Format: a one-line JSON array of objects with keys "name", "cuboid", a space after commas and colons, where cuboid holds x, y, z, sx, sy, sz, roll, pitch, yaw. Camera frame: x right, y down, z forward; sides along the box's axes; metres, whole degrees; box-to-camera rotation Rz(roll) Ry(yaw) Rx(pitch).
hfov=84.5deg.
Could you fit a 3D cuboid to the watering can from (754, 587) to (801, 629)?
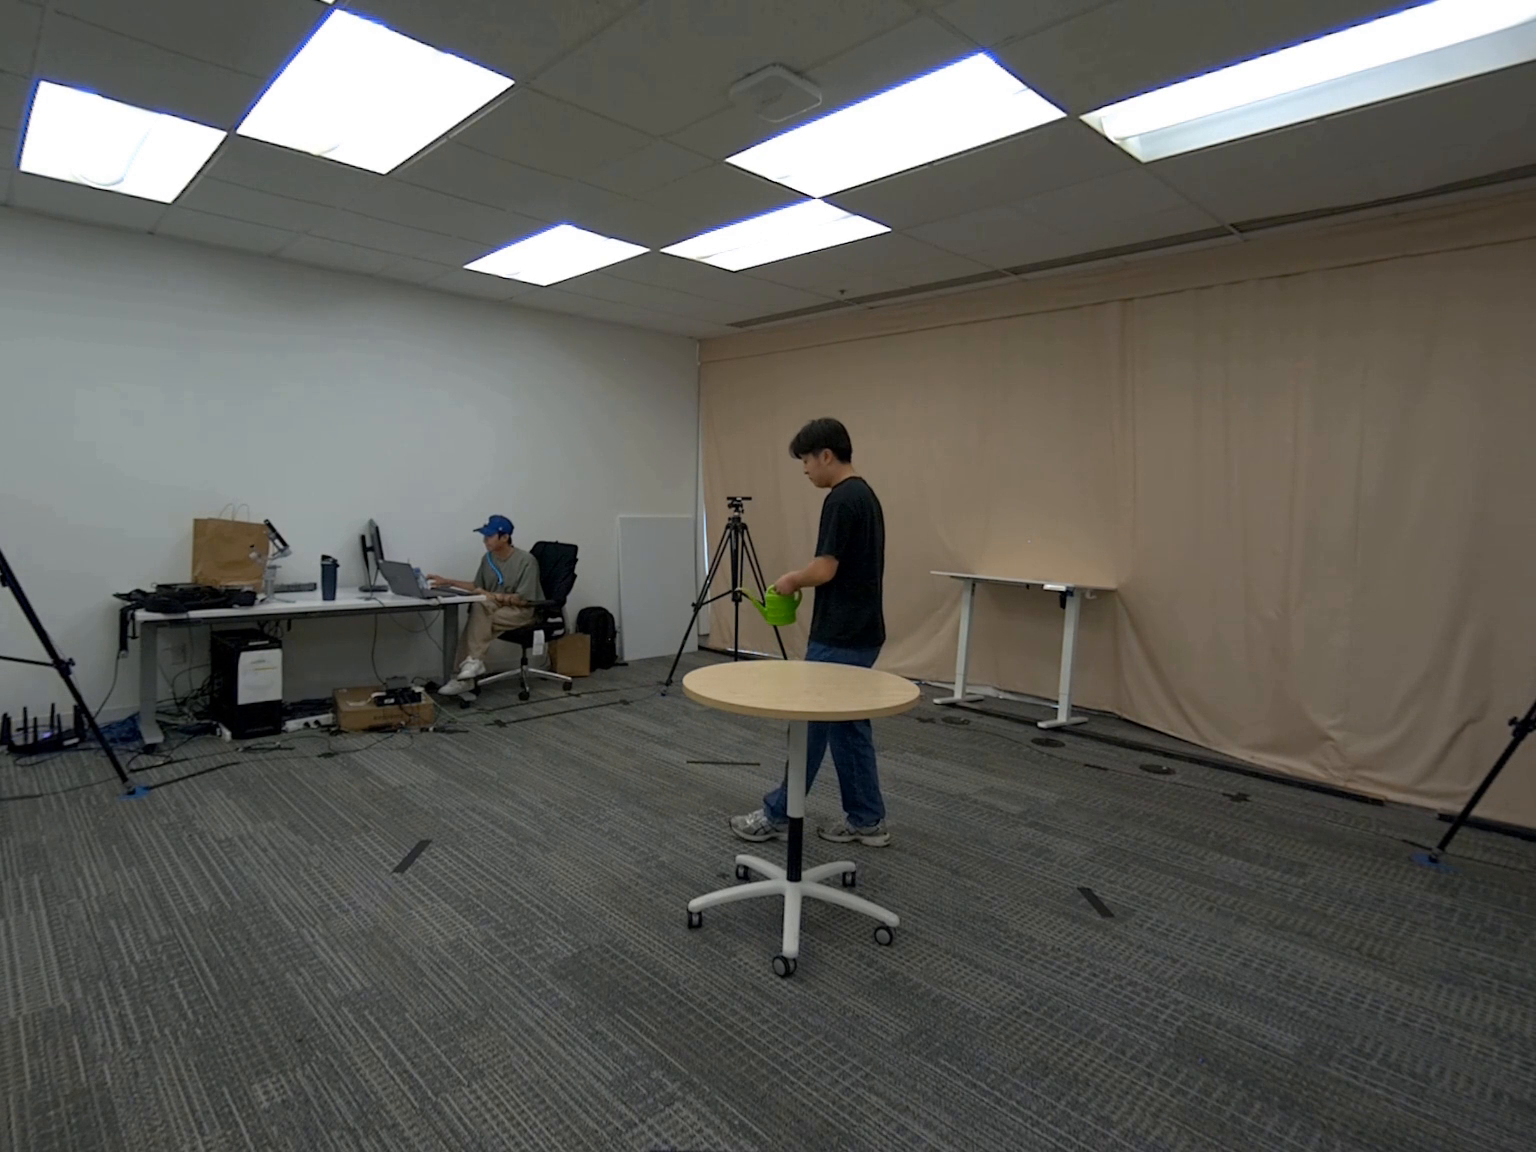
[{"name": "watering can", "cuboid": [0.004, 0.116, 3.597, 0.280, 0.175, 0.098, -2, 9, 7]}]
